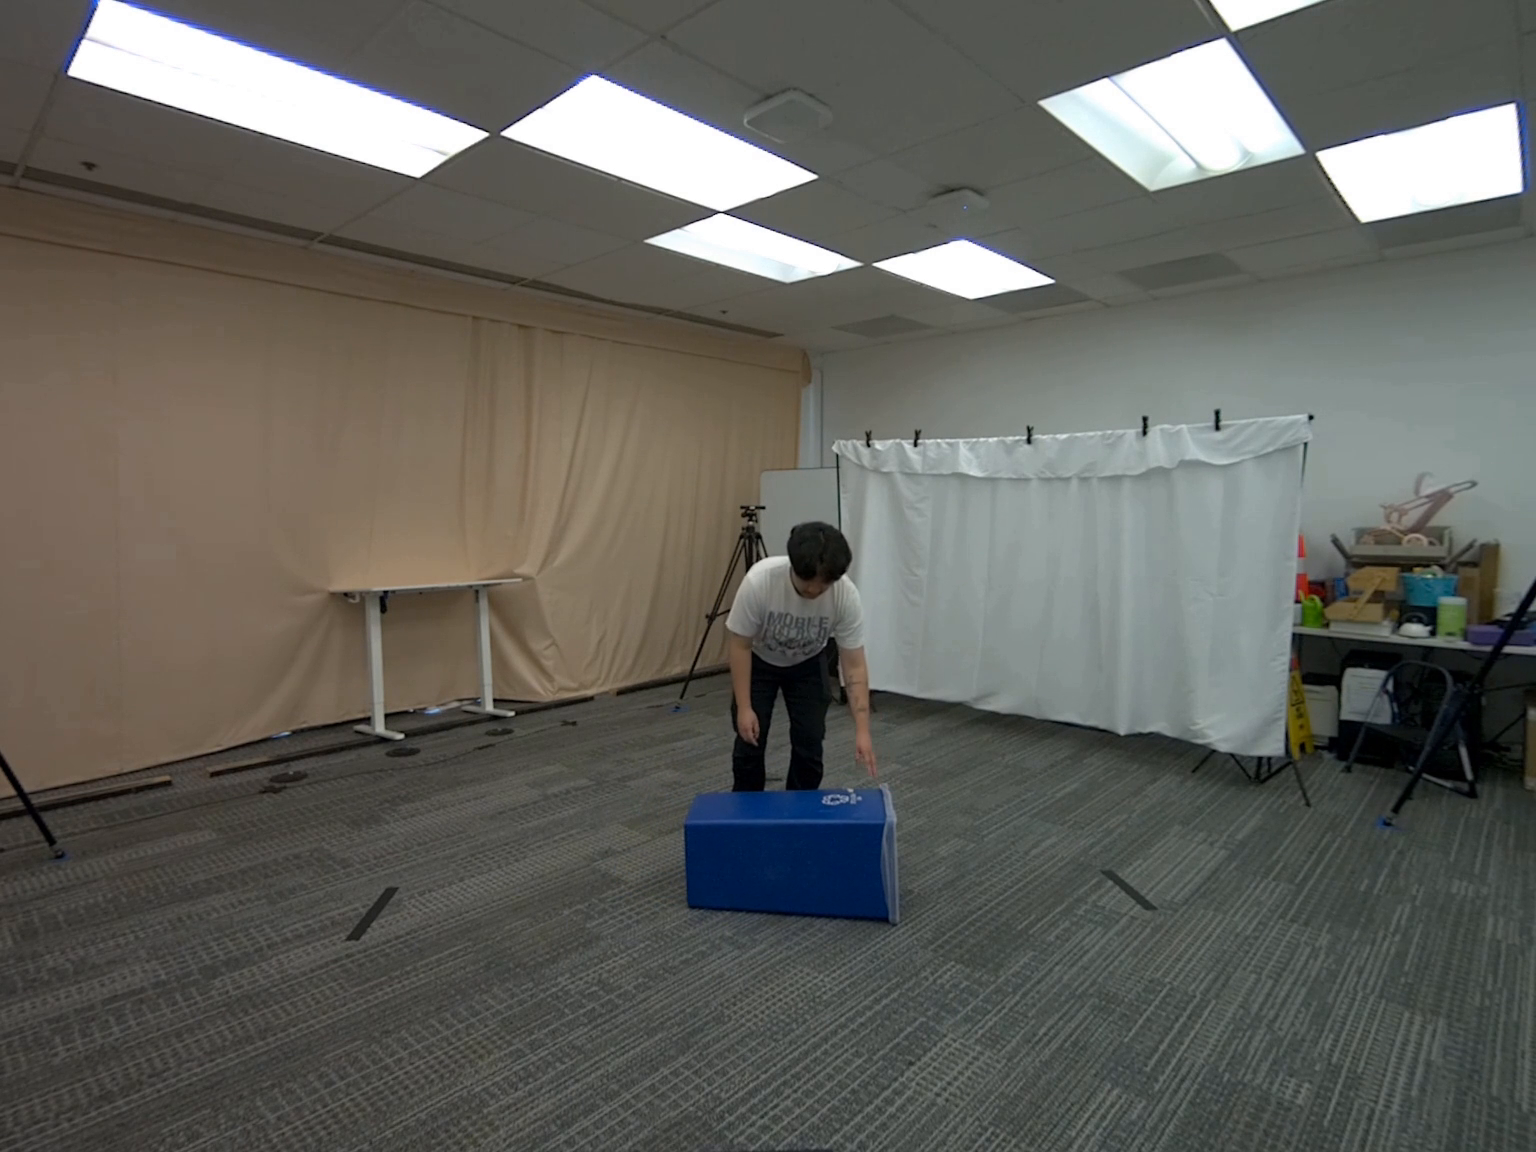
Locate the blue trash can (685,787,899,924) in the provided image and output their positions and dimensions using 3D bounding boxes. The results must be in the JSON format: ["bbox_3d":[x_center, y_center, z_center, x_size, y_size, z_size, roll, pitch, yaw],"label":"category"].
[{"bbox_3d":[0.088,0.975,2.991,0.719,0.377,0.372,-3,4,6],"label":"blue trash can"}]
